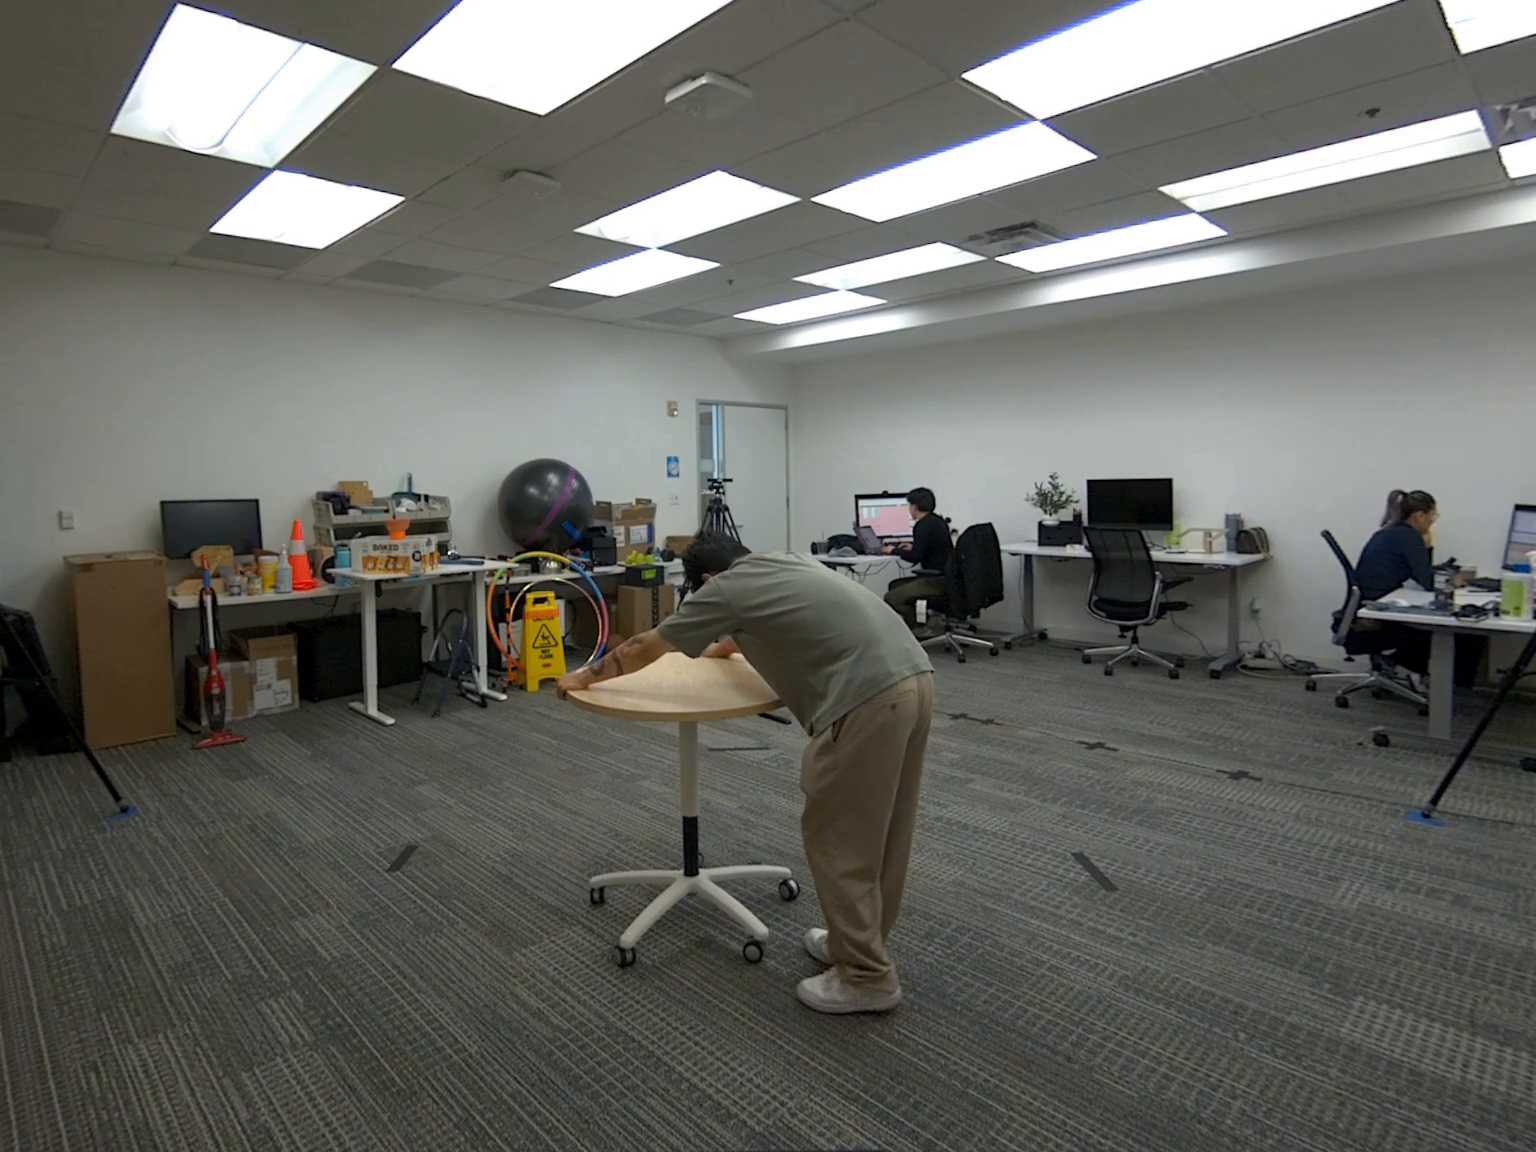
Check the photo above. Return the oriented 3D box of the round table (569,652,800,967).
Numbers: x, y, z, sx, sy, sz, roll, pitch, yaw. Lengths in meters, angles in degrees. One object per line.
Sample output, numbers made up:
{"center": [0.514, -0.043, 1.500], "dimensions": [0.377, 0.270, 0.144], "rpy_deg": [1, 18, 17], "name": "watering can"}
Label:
{"center": [-0.260, 0.706, 2.709], "dimensions": [0.784, 0.783, 0.789], "rpy_deg": [-1, 5, -2], "name": "round table"}
